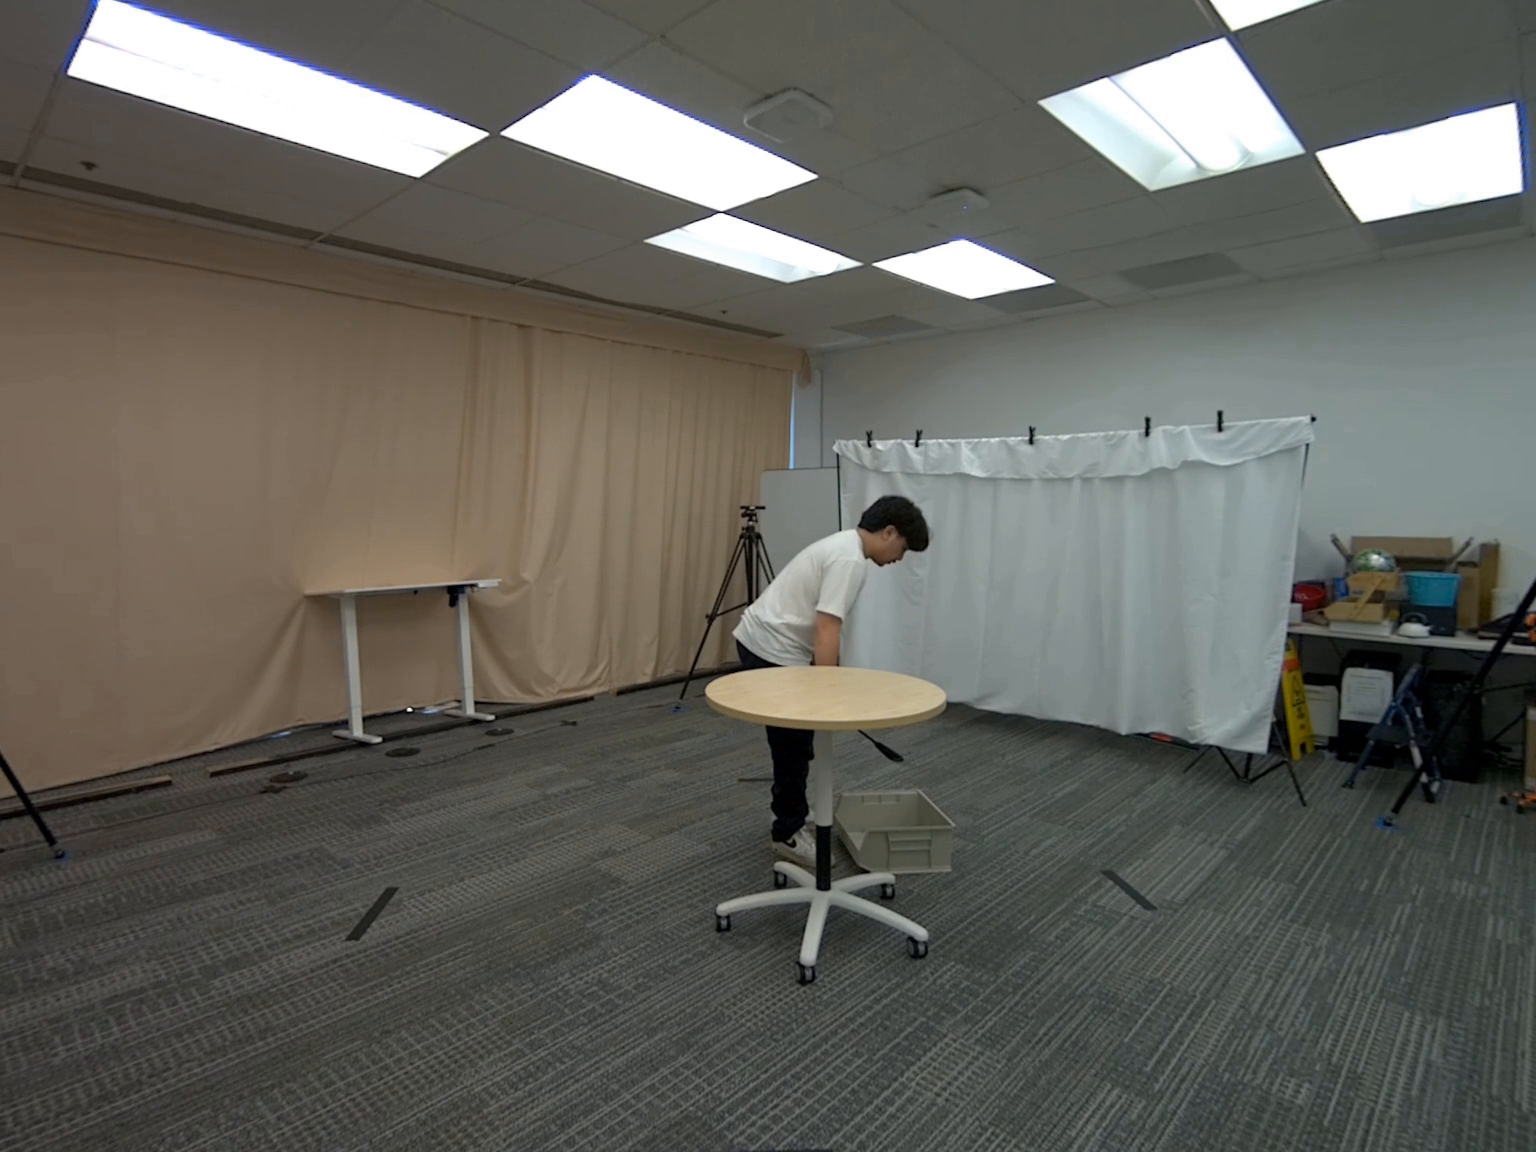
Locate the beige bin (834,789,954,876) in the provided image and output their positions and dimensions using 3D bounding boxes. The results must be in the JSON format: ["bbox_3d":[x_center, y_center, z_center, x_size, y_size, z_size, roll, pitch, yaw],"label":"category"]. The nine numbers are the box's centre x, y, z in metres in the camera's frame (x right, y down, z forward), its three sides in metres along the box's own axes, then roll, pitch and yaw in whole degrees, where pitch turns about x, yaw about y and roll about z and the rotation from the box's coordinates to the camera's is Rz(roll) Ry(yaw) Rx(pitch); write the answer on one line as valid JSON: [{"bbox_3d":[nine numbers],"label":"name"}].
[{"bbox_3d":[0.499,1.020,3.383,0.374,0.188,0.427,0,4,-8],"label":"beige bin"}]
